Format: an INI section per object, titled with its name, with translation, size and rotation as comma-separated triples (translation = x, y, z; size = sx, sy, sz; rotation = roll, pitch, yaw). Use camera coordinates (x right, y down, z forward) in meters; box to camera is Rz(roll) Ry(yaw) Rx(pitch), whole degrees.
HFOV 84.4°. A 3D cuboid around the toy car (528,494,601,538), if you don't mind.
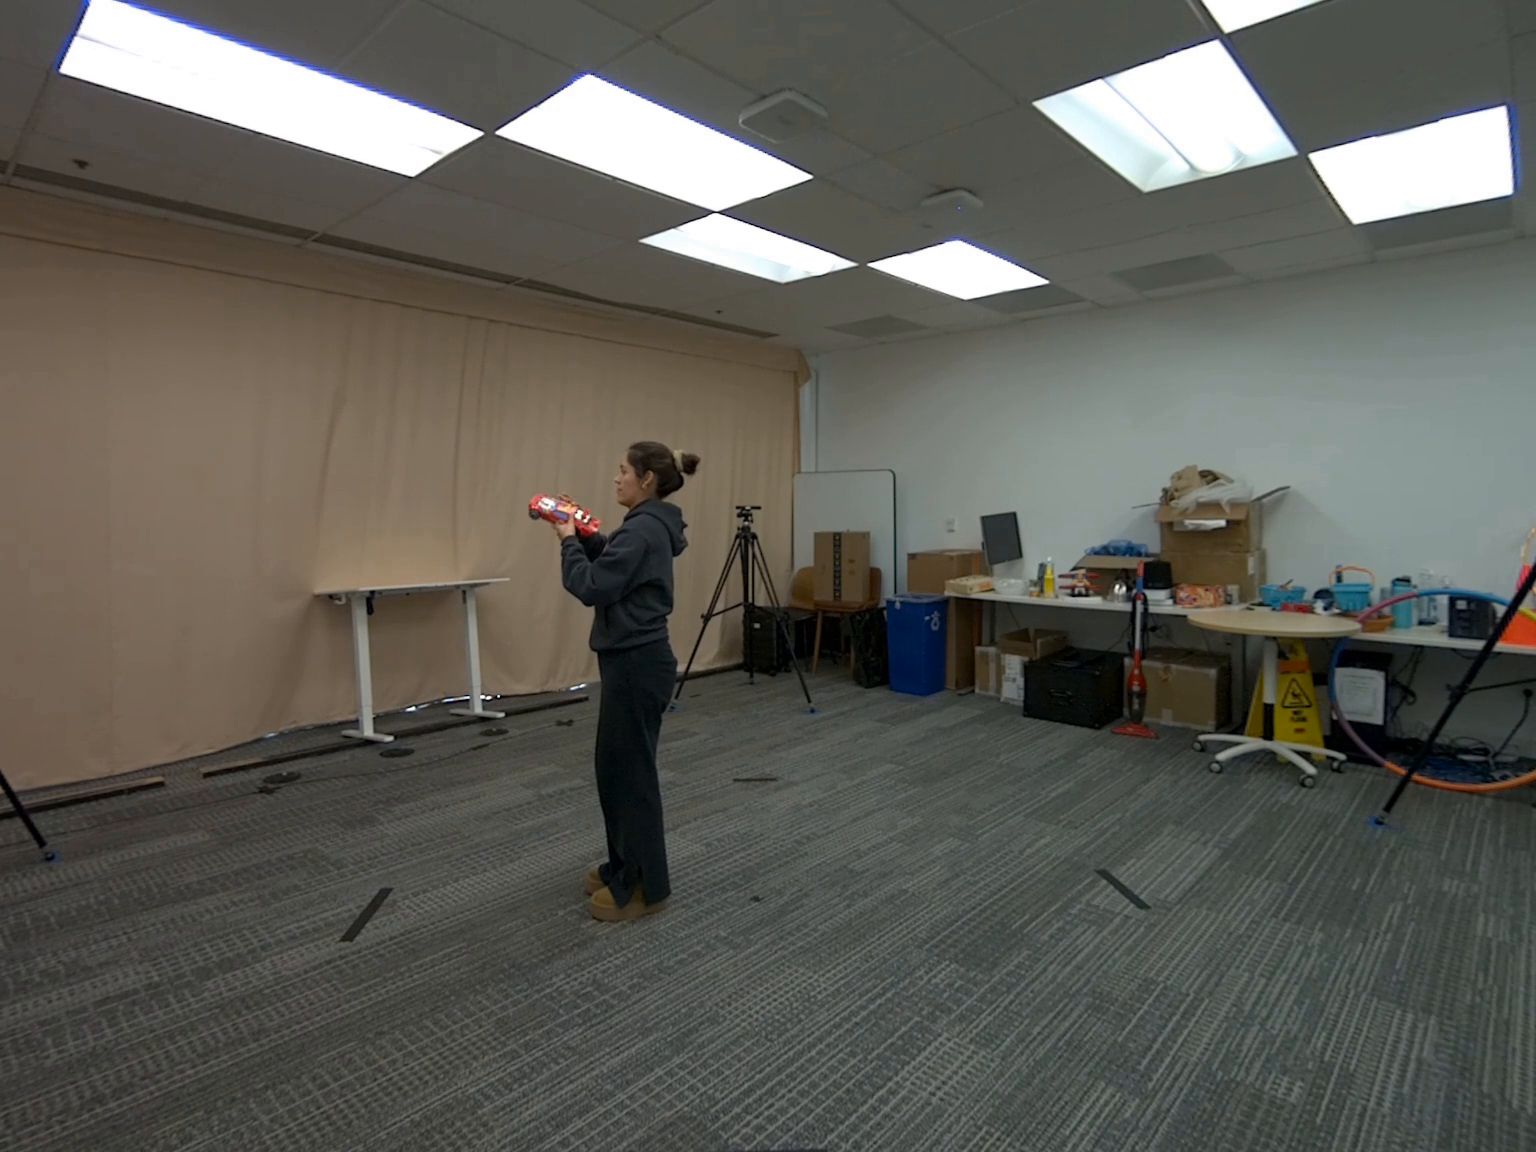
[toy car]
translation = -0.705, -0.205, 2.950
size = 0.255, 0.082, 0.131
rotation = 15, 32, 3
